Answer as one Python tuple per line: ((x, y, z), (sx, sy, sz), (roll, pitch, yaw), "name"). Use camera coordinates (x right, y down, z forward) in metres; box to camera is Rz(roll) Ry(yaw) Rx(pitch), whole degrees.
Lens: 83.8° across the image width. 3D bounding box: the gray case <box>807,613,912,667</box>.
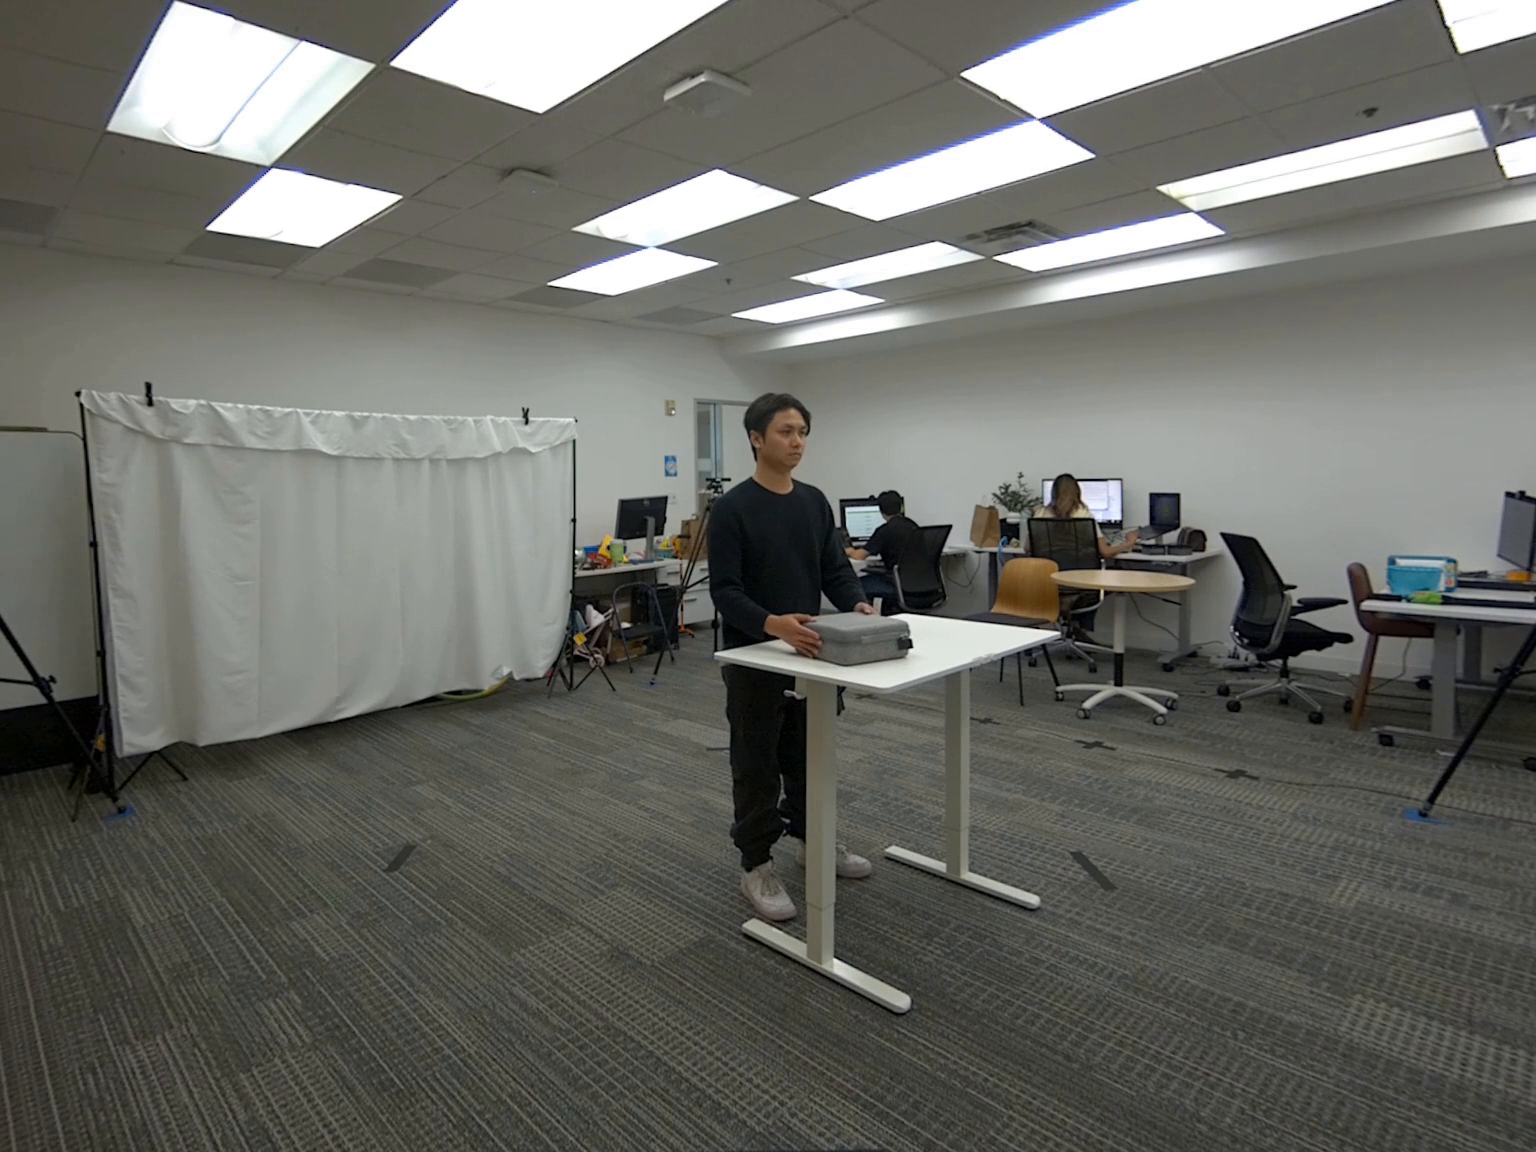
((0.239, 0.178, 2.452), (0.251, 0.104, 0.268), (-5, 7, -31), "gray case")
